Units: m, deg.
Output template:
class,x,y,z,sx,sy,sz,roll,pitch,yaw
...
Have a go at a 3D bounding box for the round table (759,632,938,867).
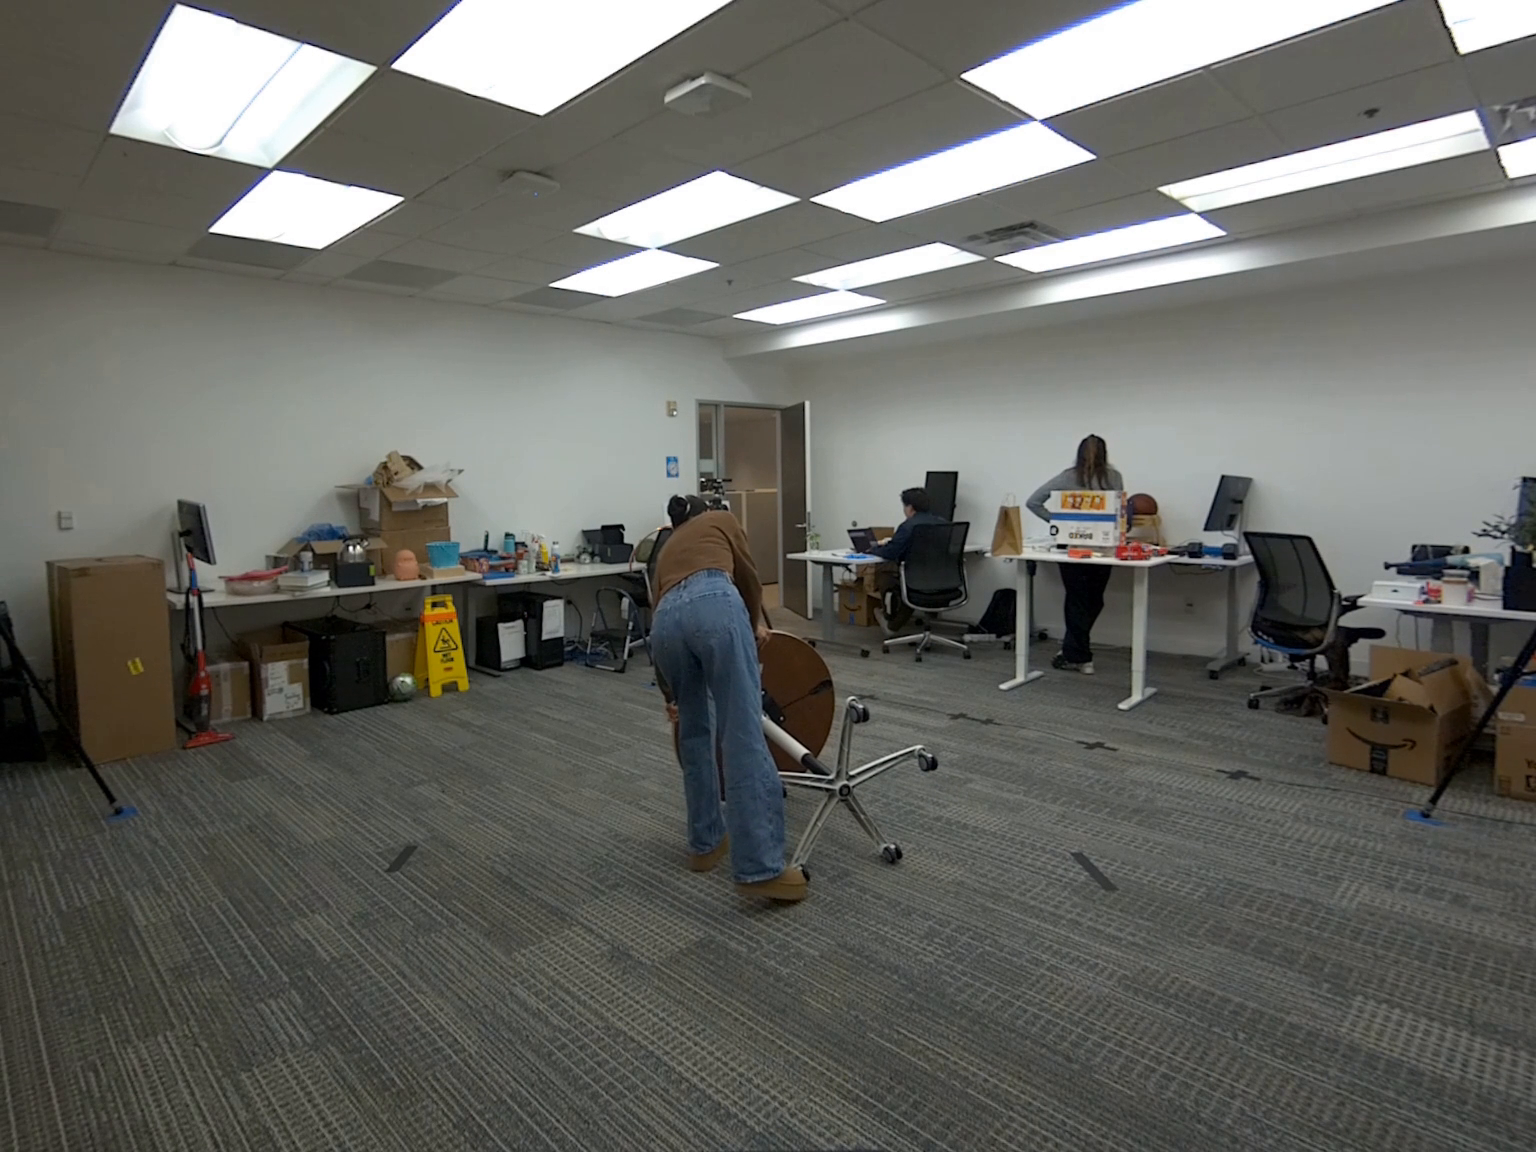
class,x,y,z,sx,sy,sz,roll,pitch,yaw
round table,0.135,0.684,3.304,0.748,0.756,0.819,-3,13,-26
